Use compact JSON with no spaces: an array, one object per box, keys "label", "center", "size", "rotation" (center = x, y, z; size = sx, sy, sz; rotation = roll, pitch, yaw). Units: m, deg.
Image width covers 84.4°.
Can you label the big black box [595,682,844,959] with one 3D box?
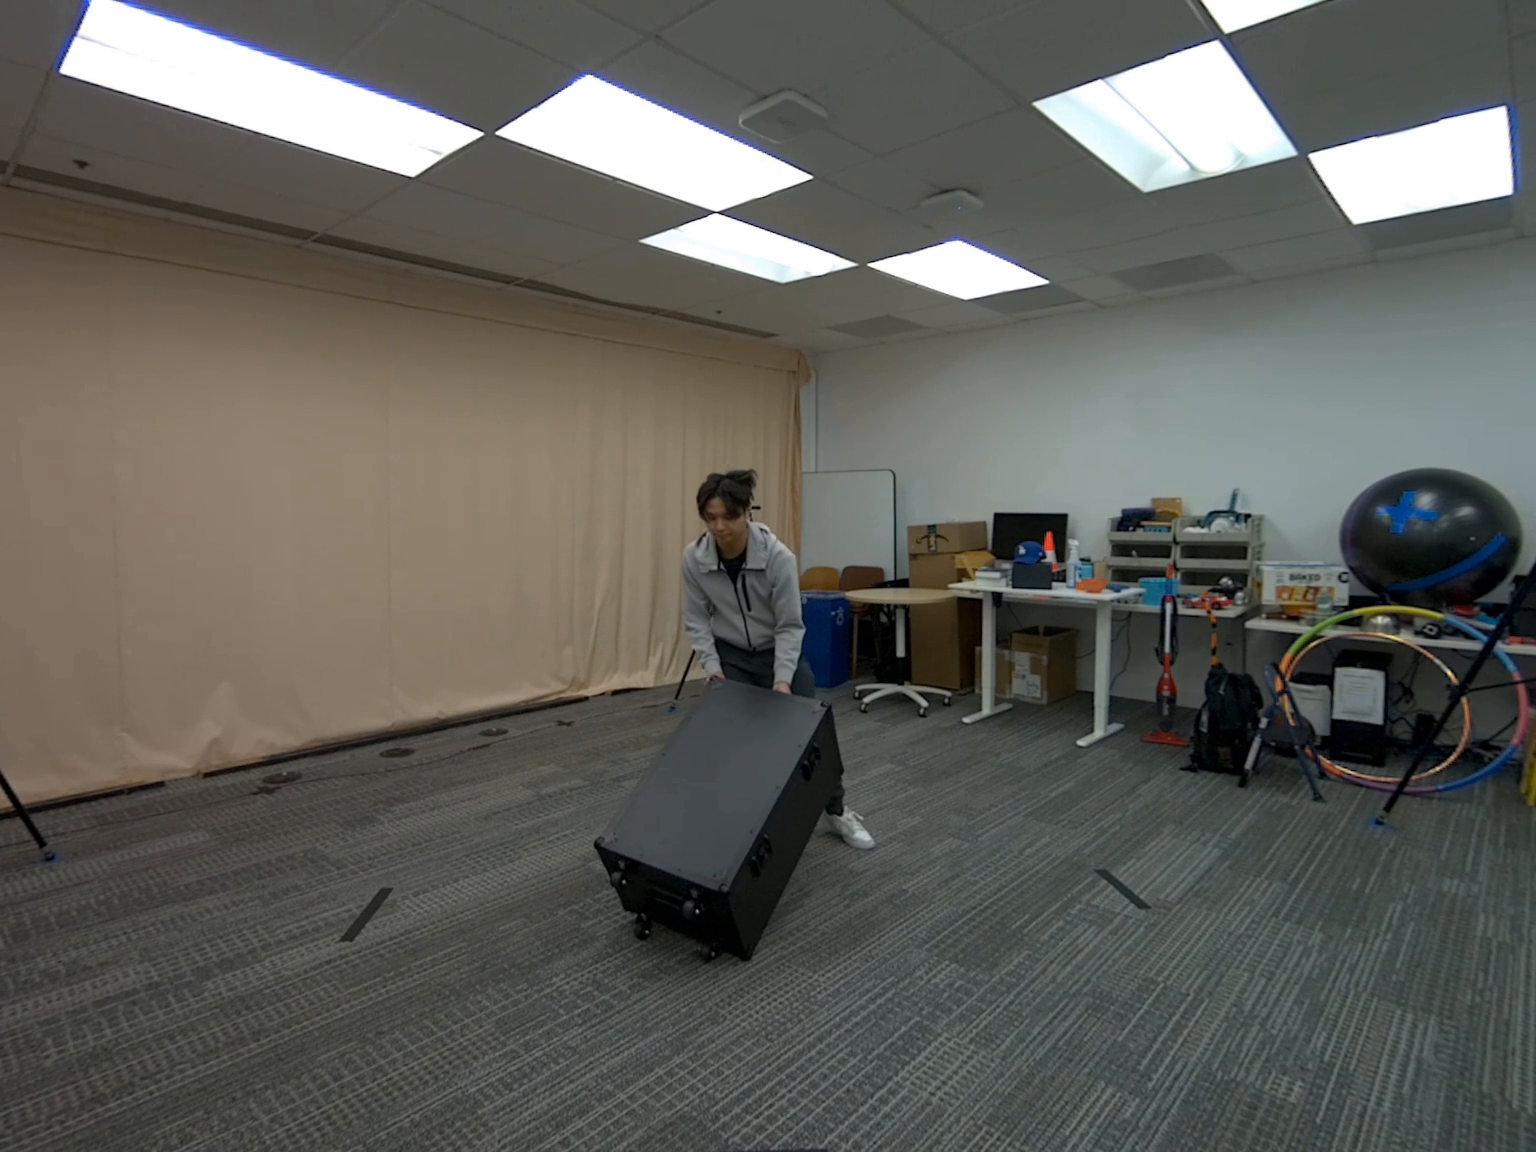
[{"label":"big black box","center":[-0.149,0.807,2.842],"size":[0.537,0.387,0.856],"rotation":[8,40,28]}]
